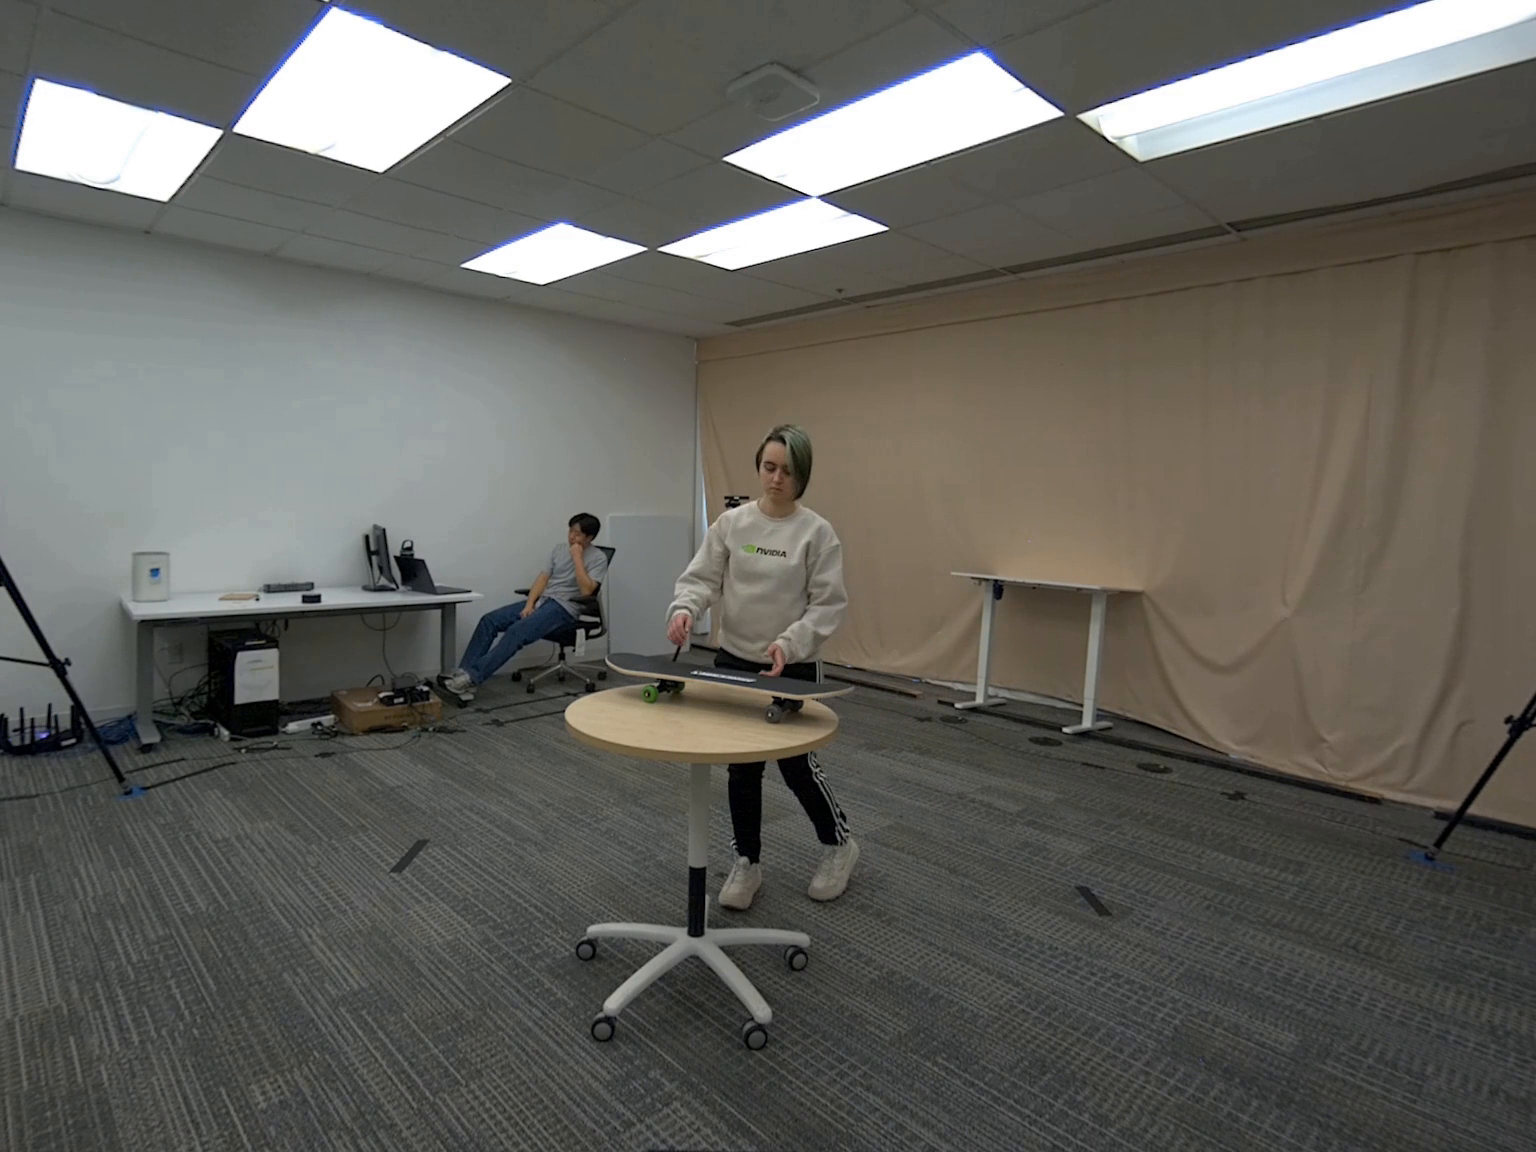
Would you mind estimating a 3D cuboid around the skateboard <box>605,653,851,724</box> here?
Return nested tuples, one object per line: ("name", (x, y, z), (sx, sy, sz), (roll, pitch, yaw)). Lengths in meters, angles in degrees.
("skateboard", (-0.144, 0.334, 2.439), (0.801, 0.110, 0.190), (4, 4, 26))
